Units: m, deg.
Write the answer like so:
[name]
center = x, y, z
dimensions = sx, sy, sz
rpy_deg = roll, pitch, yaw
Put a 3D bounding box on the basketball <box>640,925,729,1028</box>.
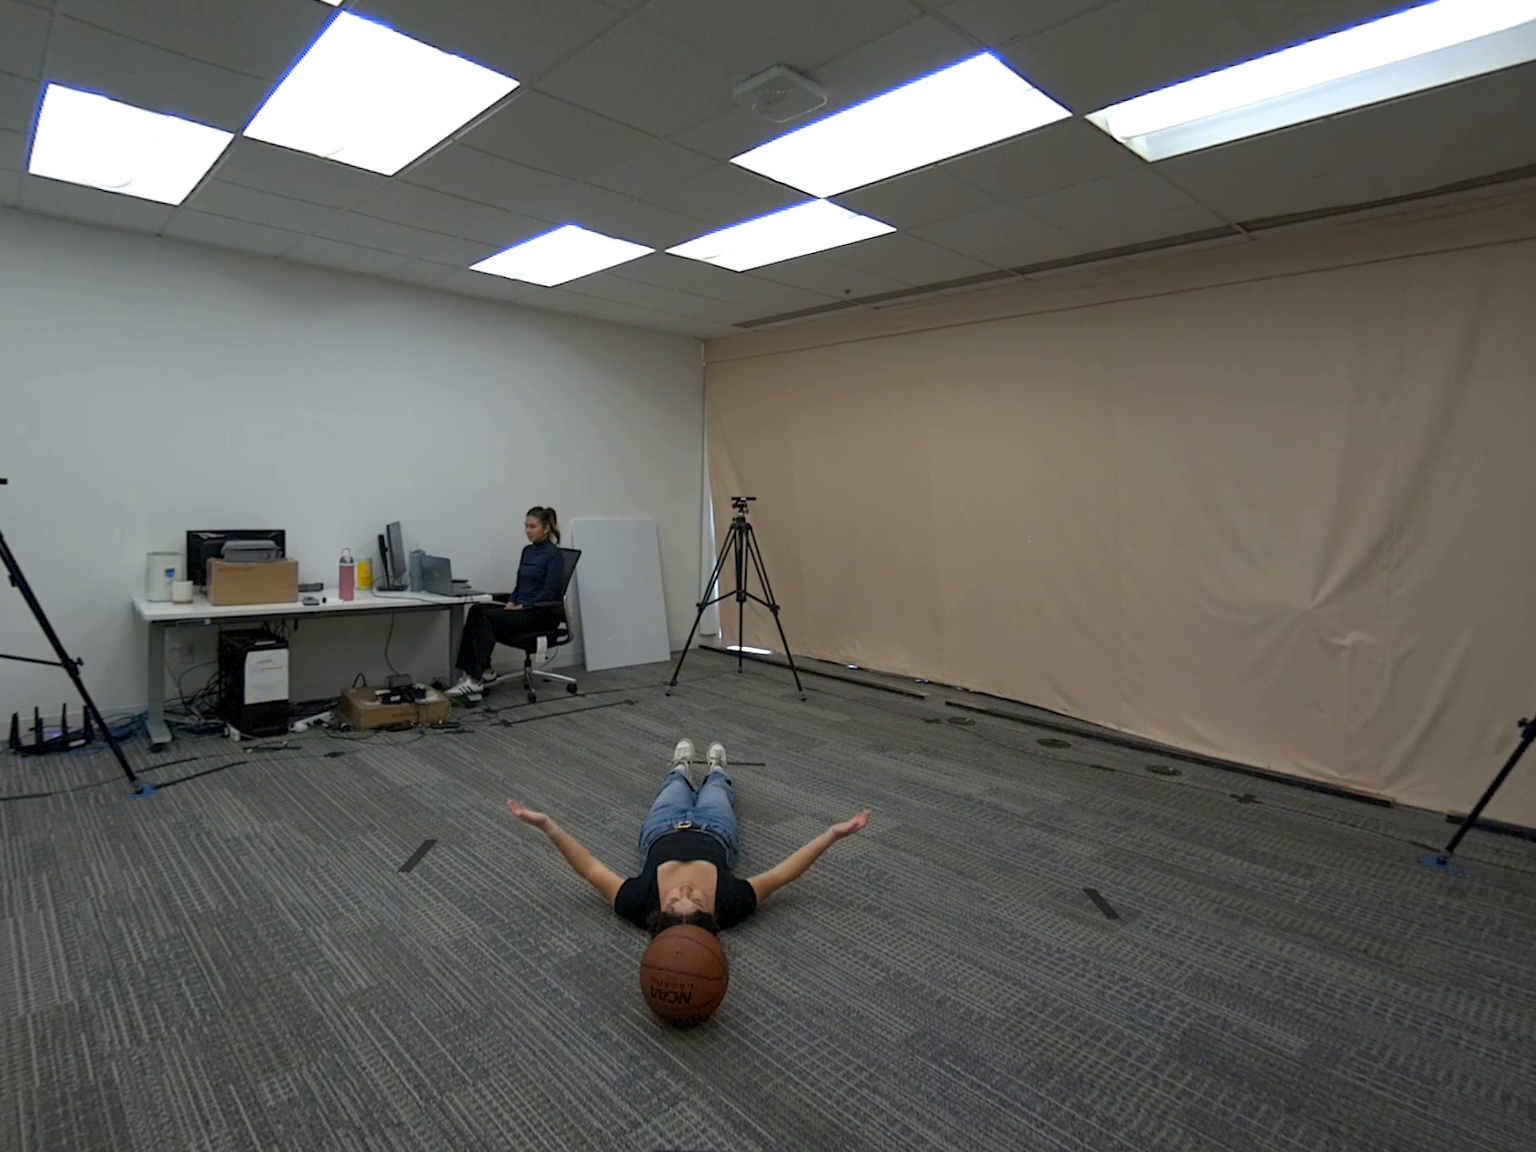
[basketball]
center = -0.225, 1.066, 2.239
dimensions = 0.236, 0.235, 0.237
rpy_deg = 1, 4, -1
